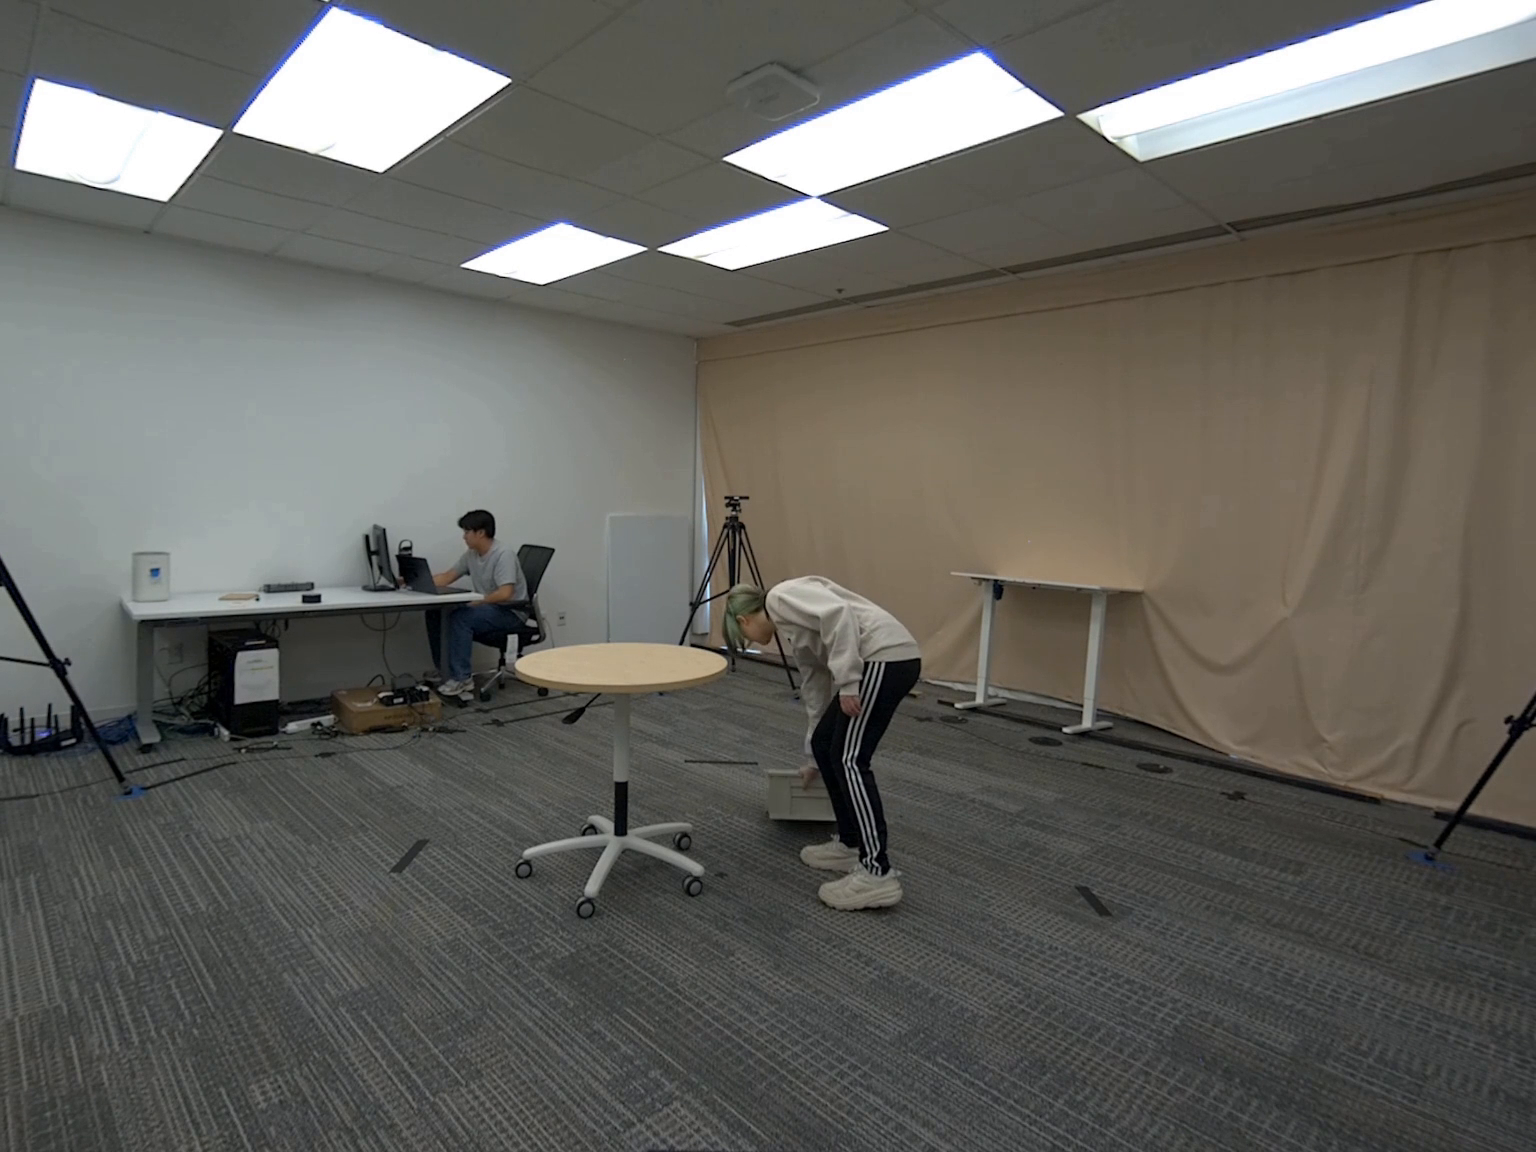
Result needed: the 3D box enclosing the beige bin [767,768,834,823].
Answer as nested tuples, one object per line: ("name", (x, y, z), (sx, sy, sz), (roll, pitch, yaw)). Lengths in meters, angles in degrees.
("beige bin", (0.178, 0.923, 3.586), (0.377, 0.190, 0.419), (-1, -9, 0))
